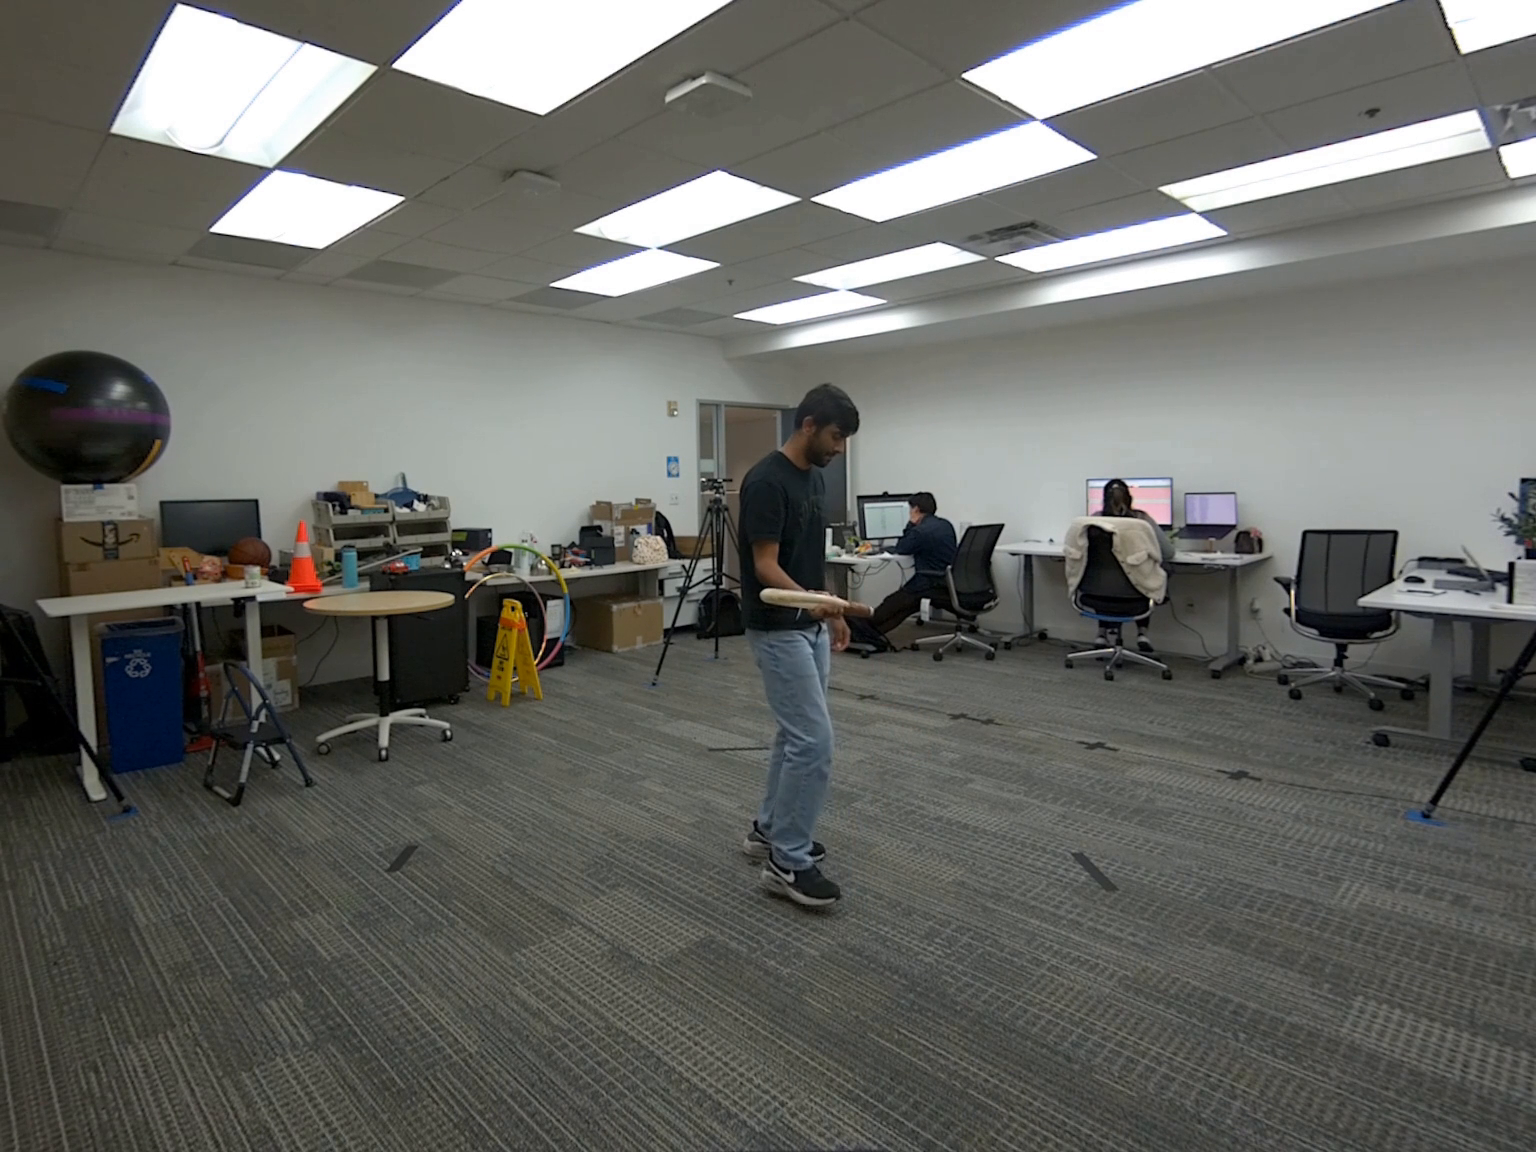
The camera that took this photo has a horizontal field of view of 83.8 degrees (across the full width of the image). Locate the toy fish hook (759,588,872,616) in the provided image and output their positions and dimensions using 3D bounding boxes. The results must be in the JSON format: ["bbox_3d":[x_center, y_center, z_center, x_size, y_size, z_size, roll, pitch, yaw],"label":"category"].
[{"bbox_3d":[0.191,0.095,2.403,0.232,0.048,0.490,8,-2,45],"label":"toy fish hook"}]
